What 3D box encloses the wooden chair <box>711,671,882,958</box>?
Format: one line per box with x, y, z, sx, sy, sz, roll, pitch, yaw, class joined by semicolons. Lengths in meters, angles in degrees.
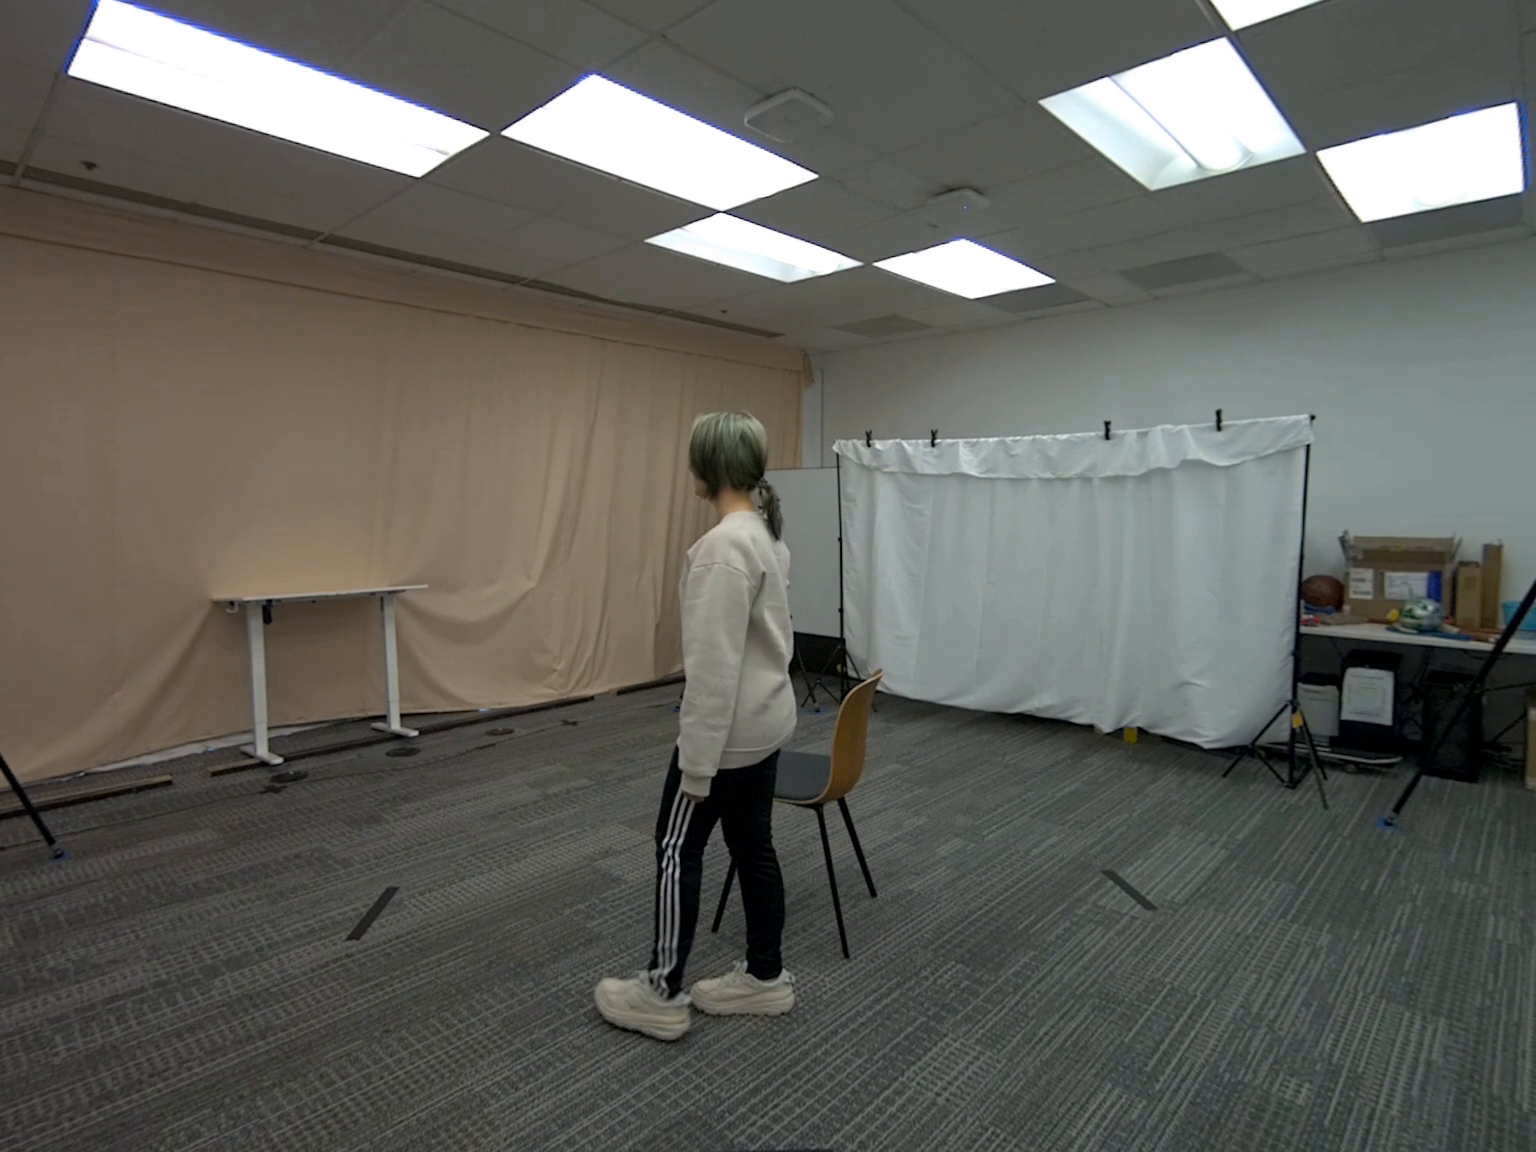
0.096;0.727;2.843;0.535;0.875;0.469;6;5;20;wooden chair
